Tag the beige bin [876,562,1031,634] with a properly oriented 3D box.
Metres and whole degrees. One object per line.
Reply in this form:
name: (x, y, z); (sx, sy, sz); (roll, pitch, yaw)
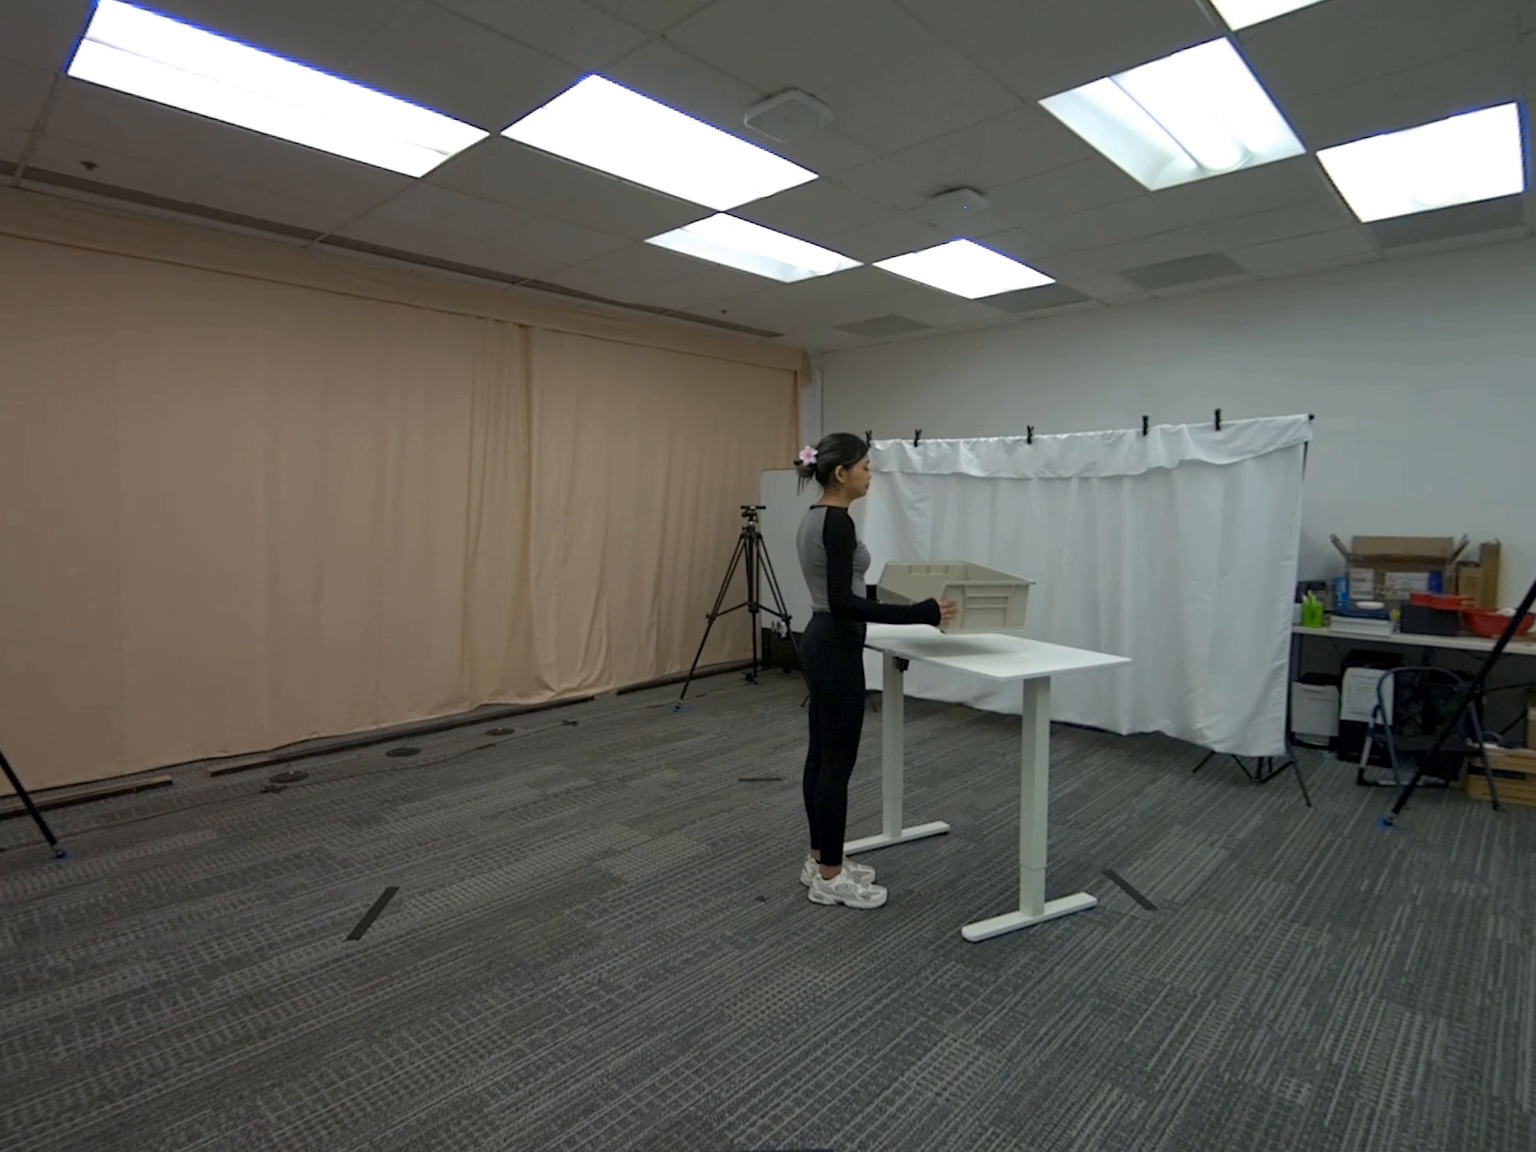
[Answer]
beige bin: (0.650, 0.071, 2.996); (0.372, 0.188, 0.431); (1, 9, -15)
